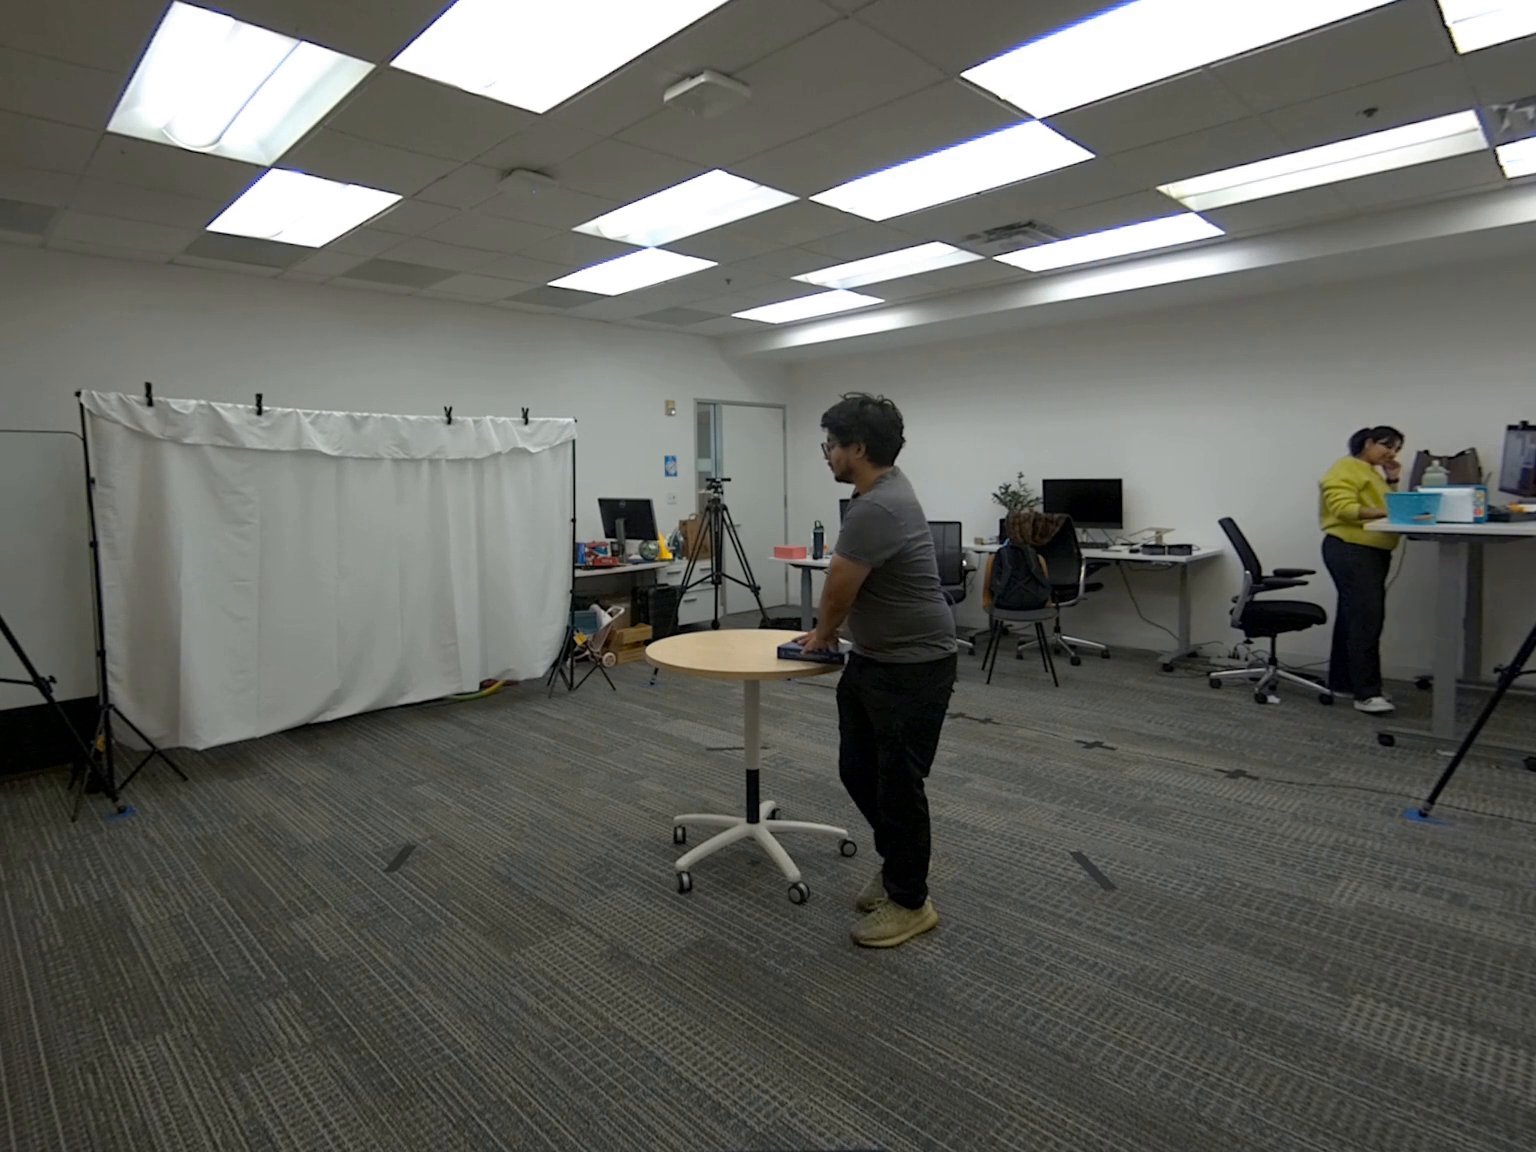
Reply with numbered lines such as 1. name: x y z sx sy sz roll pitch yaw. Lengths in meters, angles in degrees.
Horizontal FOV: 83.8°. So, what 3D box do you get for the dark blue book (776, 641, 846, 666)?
1. dark blue book: 0.170 0.258 2.919 0.251 0.045 0.160 3 7 24
